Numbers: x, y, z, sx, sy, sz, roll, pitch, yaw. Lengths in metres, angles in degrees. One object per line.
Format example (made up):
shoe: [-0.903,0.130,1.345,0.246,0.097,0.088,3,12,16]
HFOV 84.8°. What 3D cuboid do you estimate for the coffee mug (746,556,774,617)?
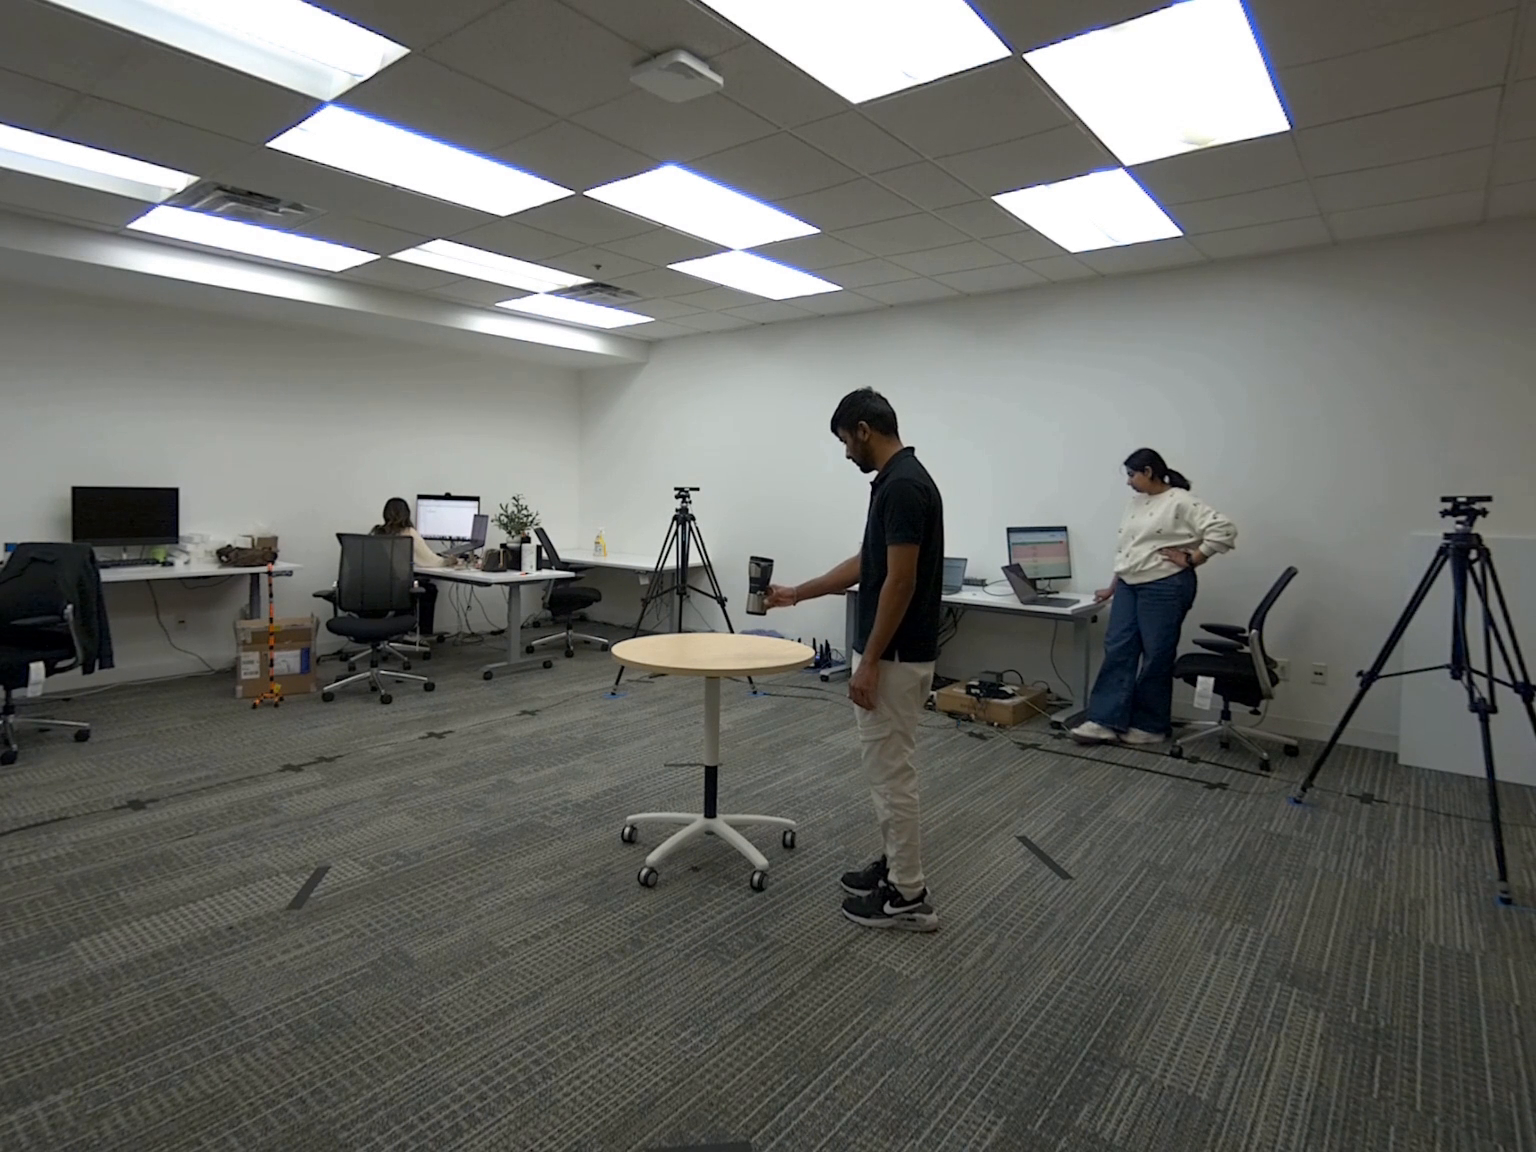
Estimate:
coffee mug: [-0.041,0.041,2.980,0.088,0.203,0.121,7,-2,5]
